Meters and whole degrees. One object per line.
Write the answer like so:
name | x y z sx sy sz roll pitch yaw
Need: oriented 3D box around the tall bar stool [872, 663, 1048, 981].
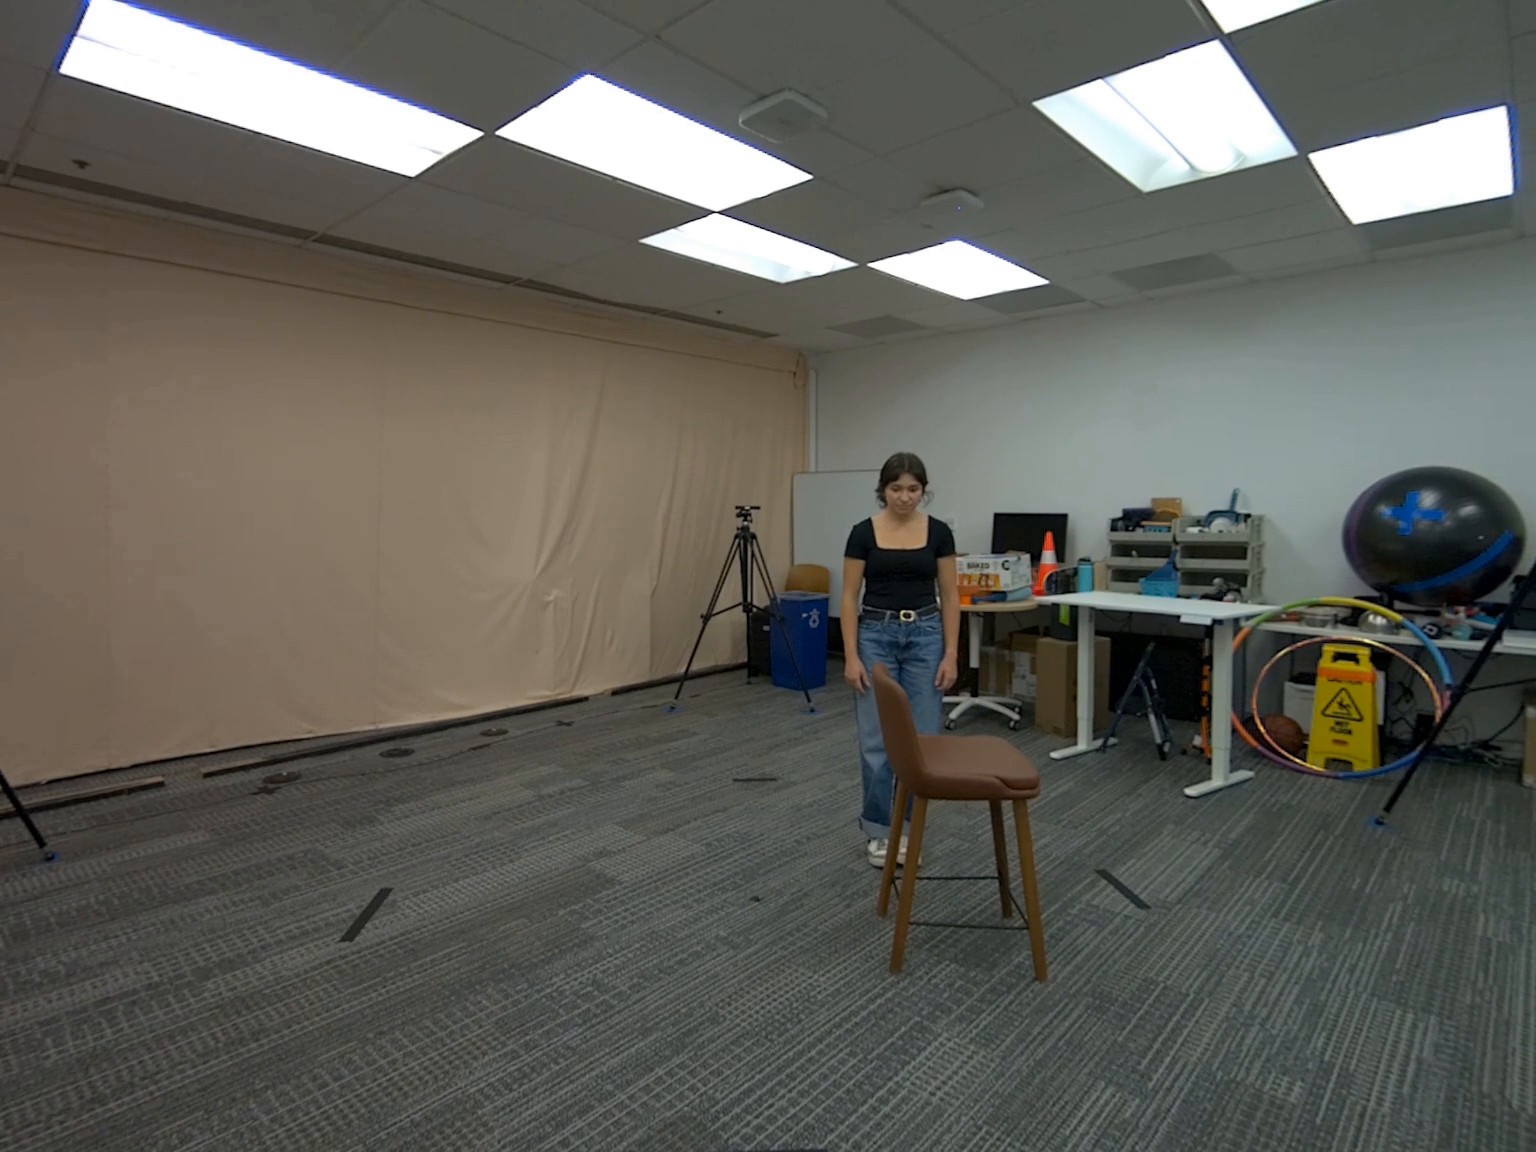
tall bar stool | 0.593 0.732 2.657 0.470 0.888 0.455 -2 3 4
